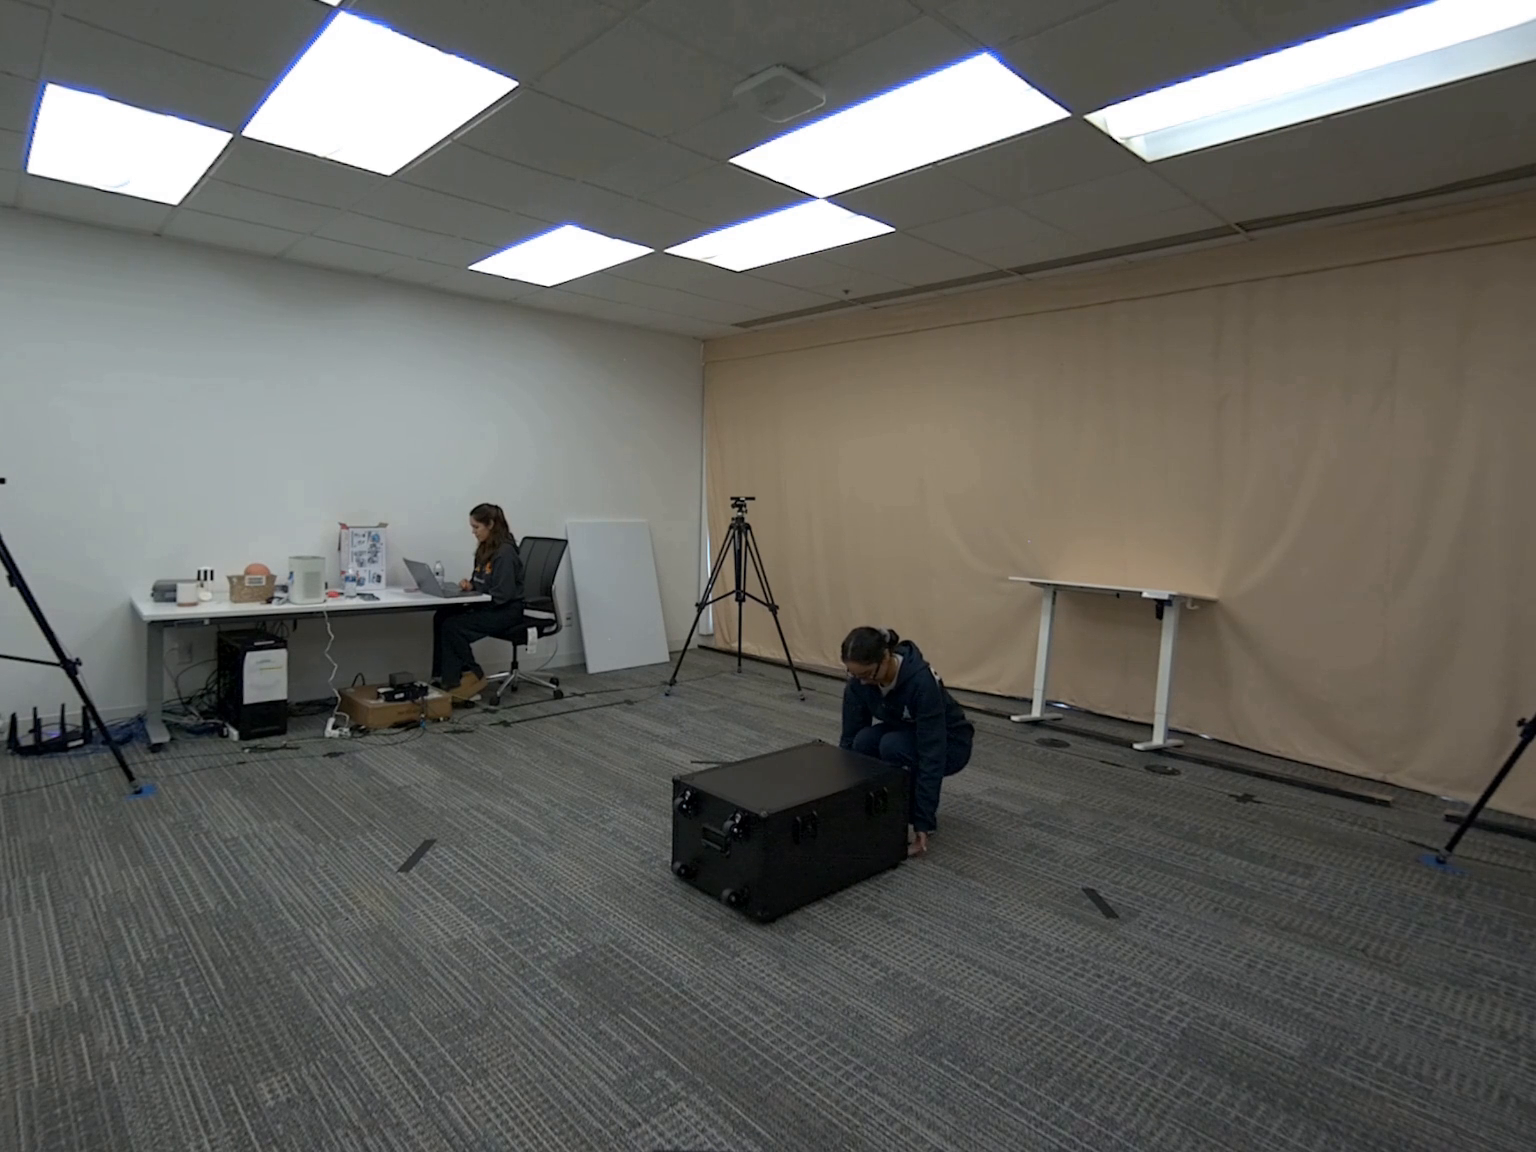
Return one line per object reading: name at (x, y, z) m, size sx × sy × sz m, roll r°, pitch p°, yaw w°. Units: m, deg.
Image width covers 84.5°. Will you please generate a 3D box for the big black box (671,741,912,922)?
big black box at (0.063, 0.918, 3.124) m, size 0.841 × 0.395 × 0.534 m, roll -2°, pitch 5°, yaw -44°
